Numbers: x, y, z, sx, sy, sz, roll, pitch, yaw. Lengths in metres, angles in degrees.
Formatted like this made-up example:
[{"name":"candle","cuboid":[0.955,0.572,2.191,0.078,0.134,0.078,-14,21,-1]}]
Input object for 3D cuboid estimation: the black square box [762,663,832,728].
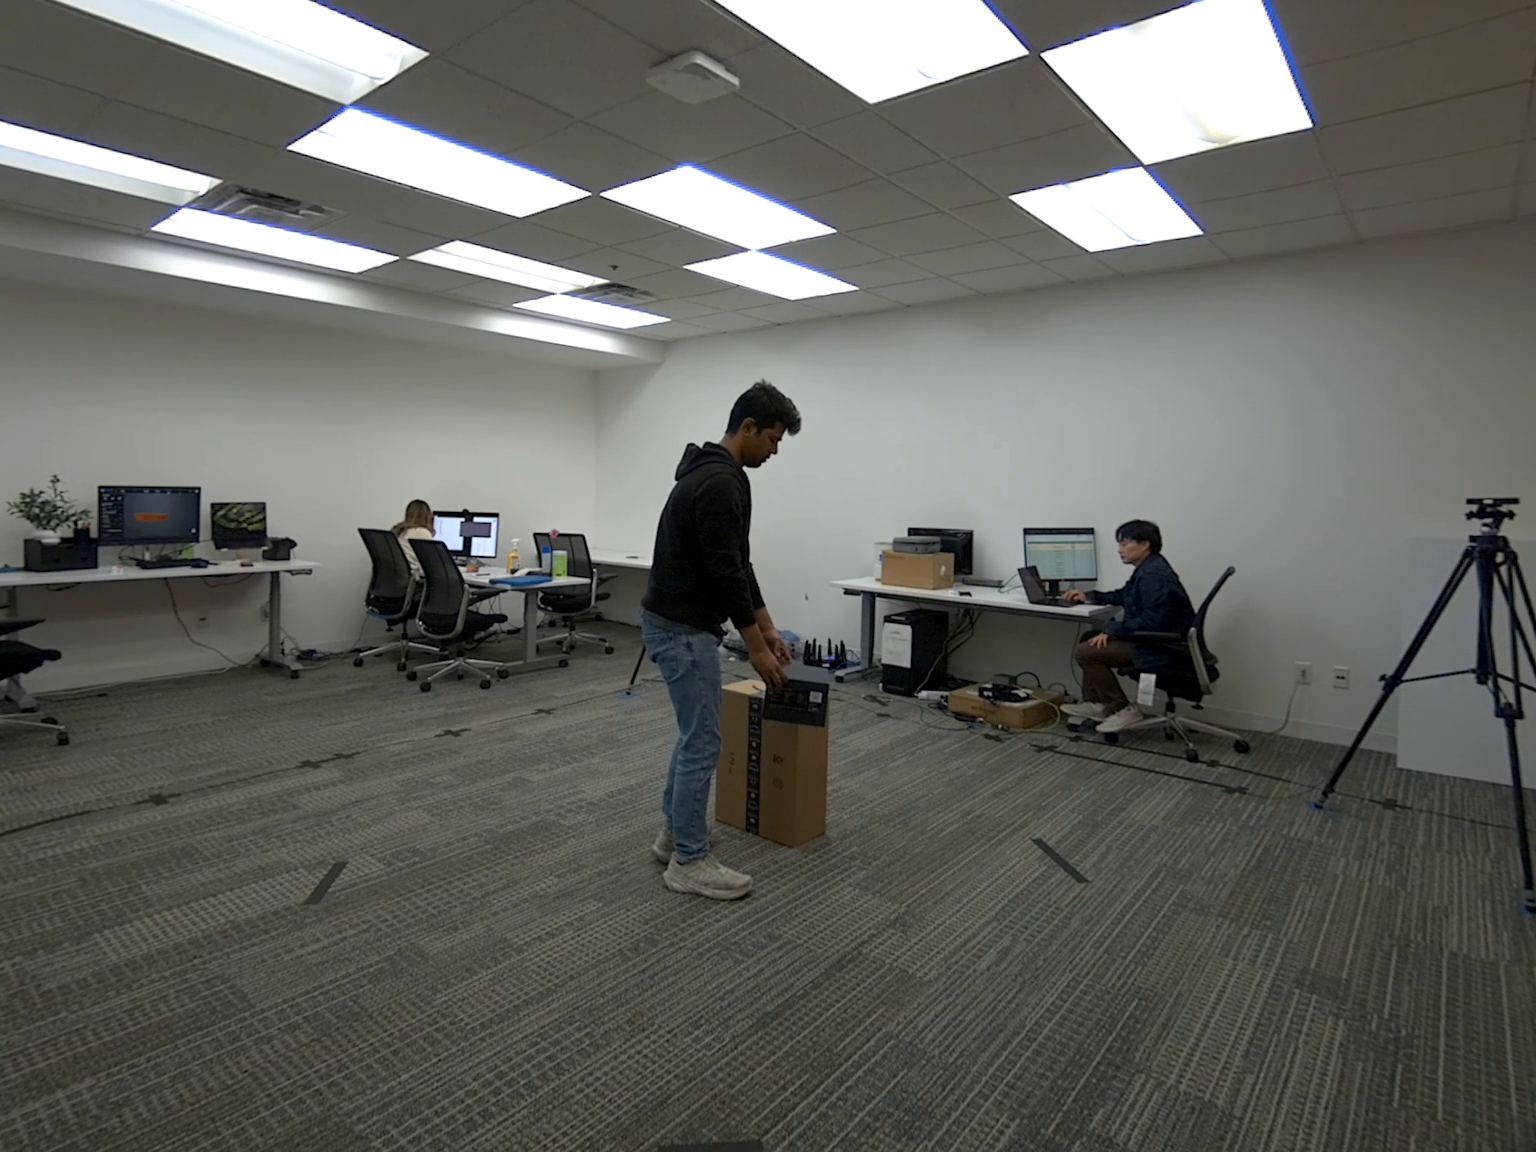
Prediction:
[{"name":"black square box","cuboid":[0.095,0.424,3.021,0.218,0.155,0.228,6,7,4]}]
